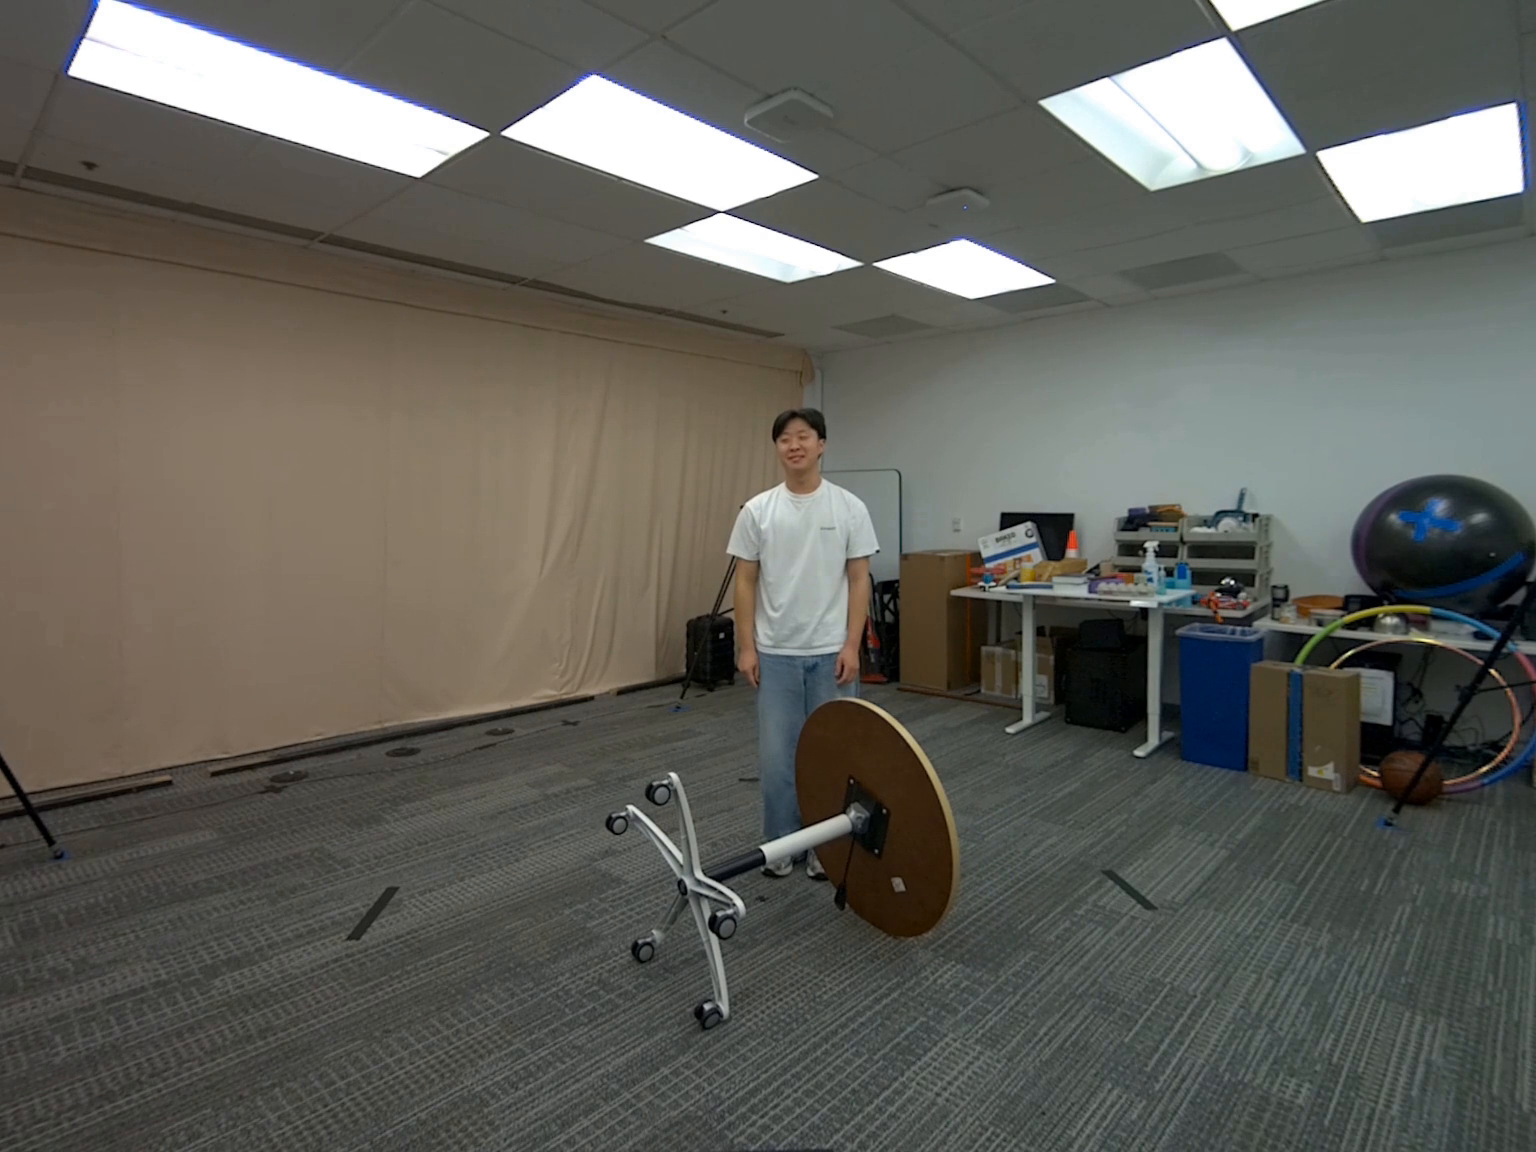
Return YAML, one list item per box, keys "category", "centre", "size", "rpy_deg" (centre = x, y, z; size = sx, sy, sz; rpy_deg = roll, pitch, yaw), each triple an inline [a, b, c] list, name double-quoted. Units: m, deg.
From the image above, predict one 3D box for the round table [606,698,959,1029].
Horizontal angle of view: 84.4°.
- category: "round table"
  centre: [0.016, 0.845, 2.557]
  size: [0.774, 0.760, 0.787]
  rpy_deg: [-11, 9, -32]
